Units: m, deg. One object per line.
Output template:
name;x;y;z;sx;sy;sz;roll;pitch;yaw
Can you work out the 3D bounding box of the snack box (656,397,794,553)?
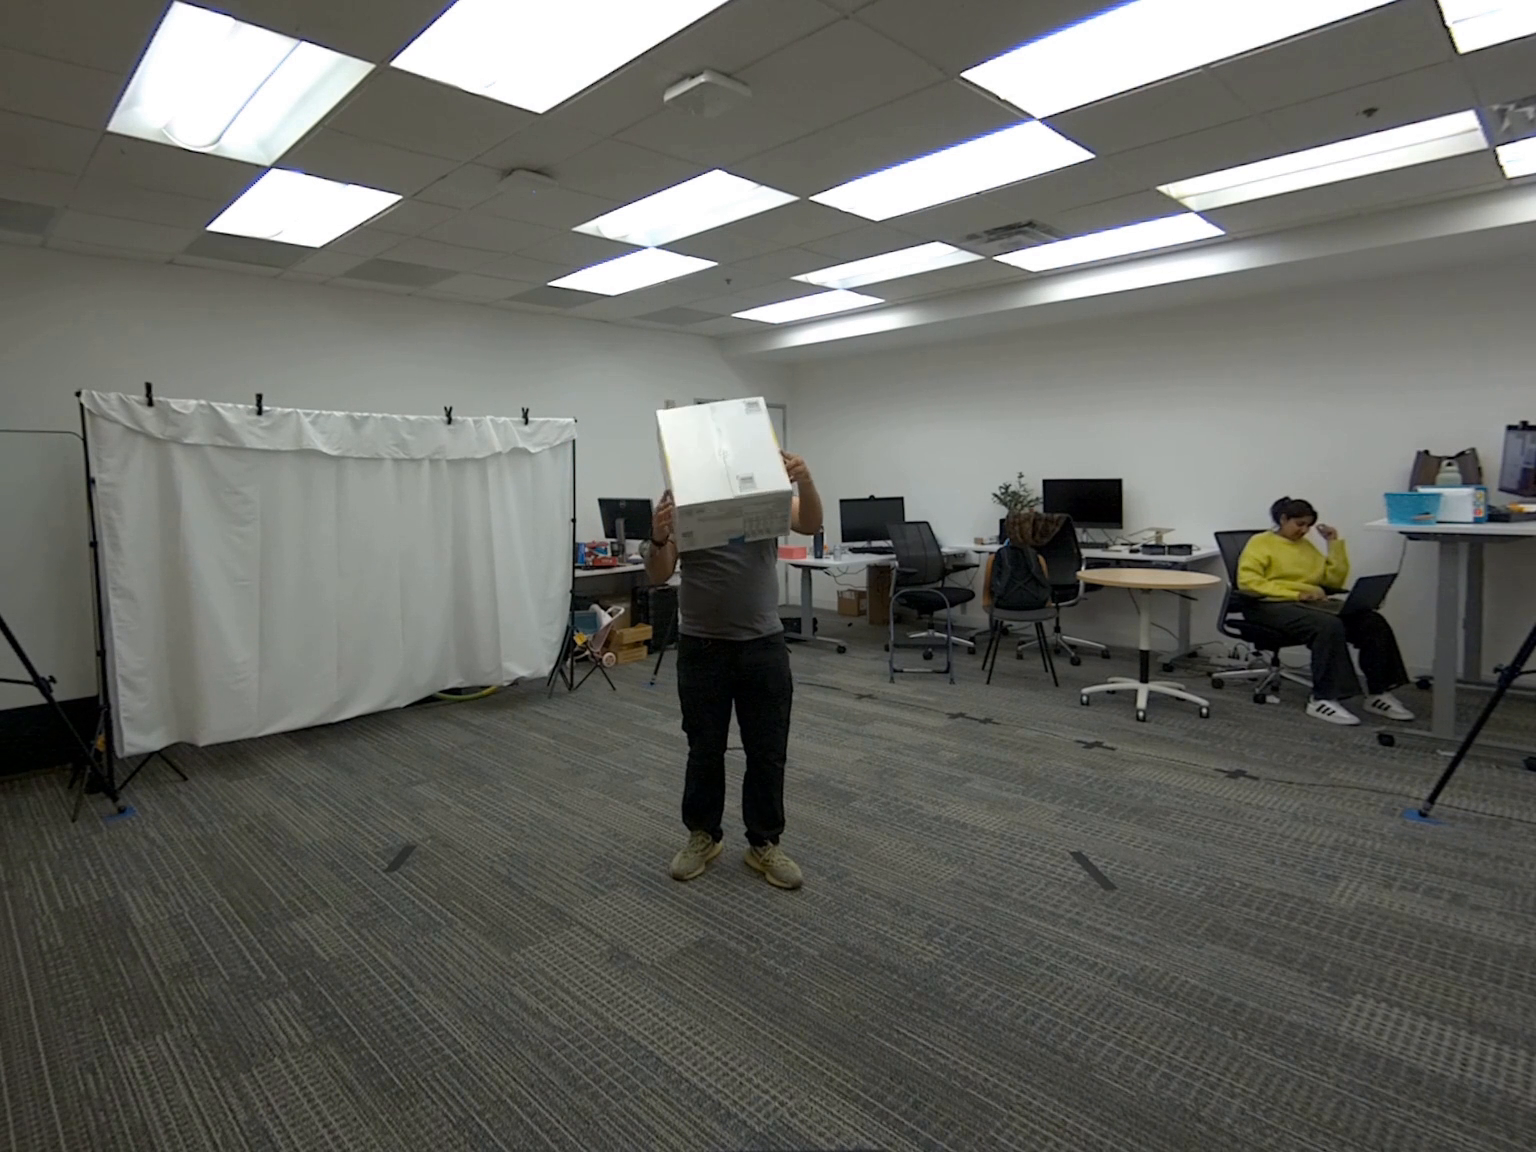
snack box;-0.143;-0.312;2.576;0.338;0.419;0.200;-10;-38;-8
